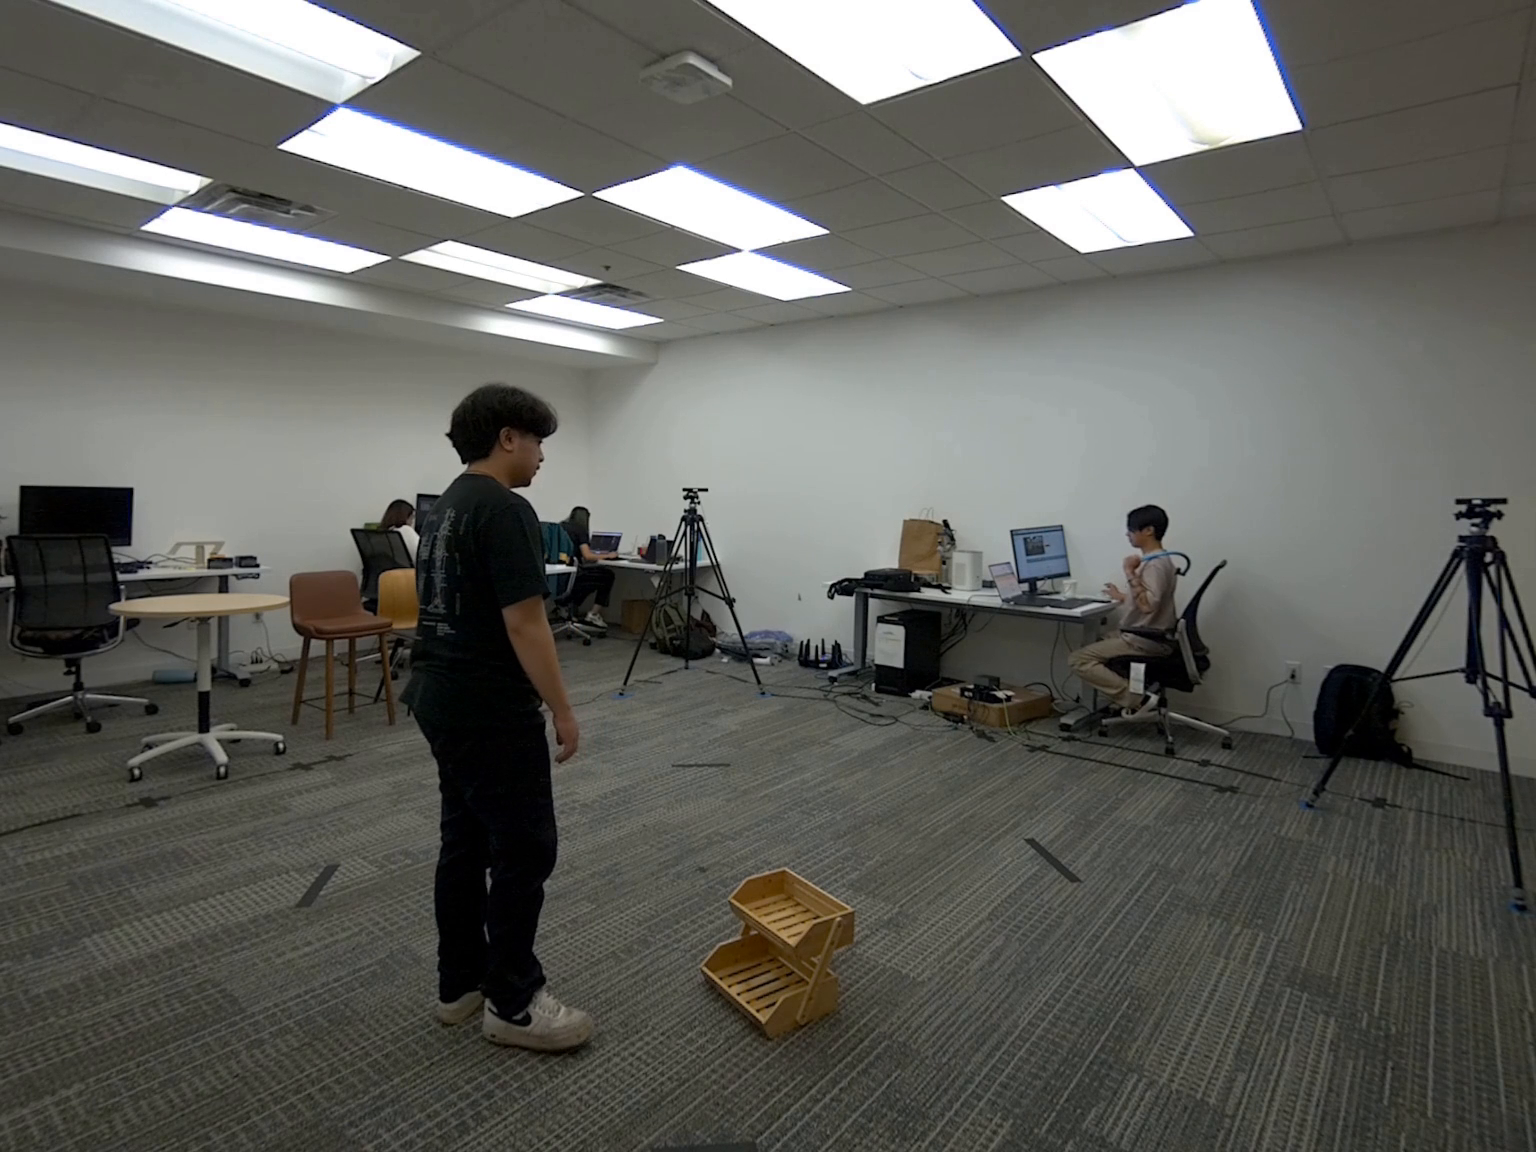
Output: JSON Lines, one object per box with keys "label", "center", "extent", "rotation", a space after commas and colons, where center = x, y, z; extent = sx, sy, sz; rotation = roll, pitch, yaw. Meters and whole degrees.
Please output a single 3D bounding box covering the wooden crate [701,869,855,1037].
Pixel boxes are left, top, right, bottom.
{"label": "wooden crate", "center": [0.014, 1.018, 2.345], "extent": [0.293, 0.272, 0.335], "rotation": [-2, 6, -38]}
